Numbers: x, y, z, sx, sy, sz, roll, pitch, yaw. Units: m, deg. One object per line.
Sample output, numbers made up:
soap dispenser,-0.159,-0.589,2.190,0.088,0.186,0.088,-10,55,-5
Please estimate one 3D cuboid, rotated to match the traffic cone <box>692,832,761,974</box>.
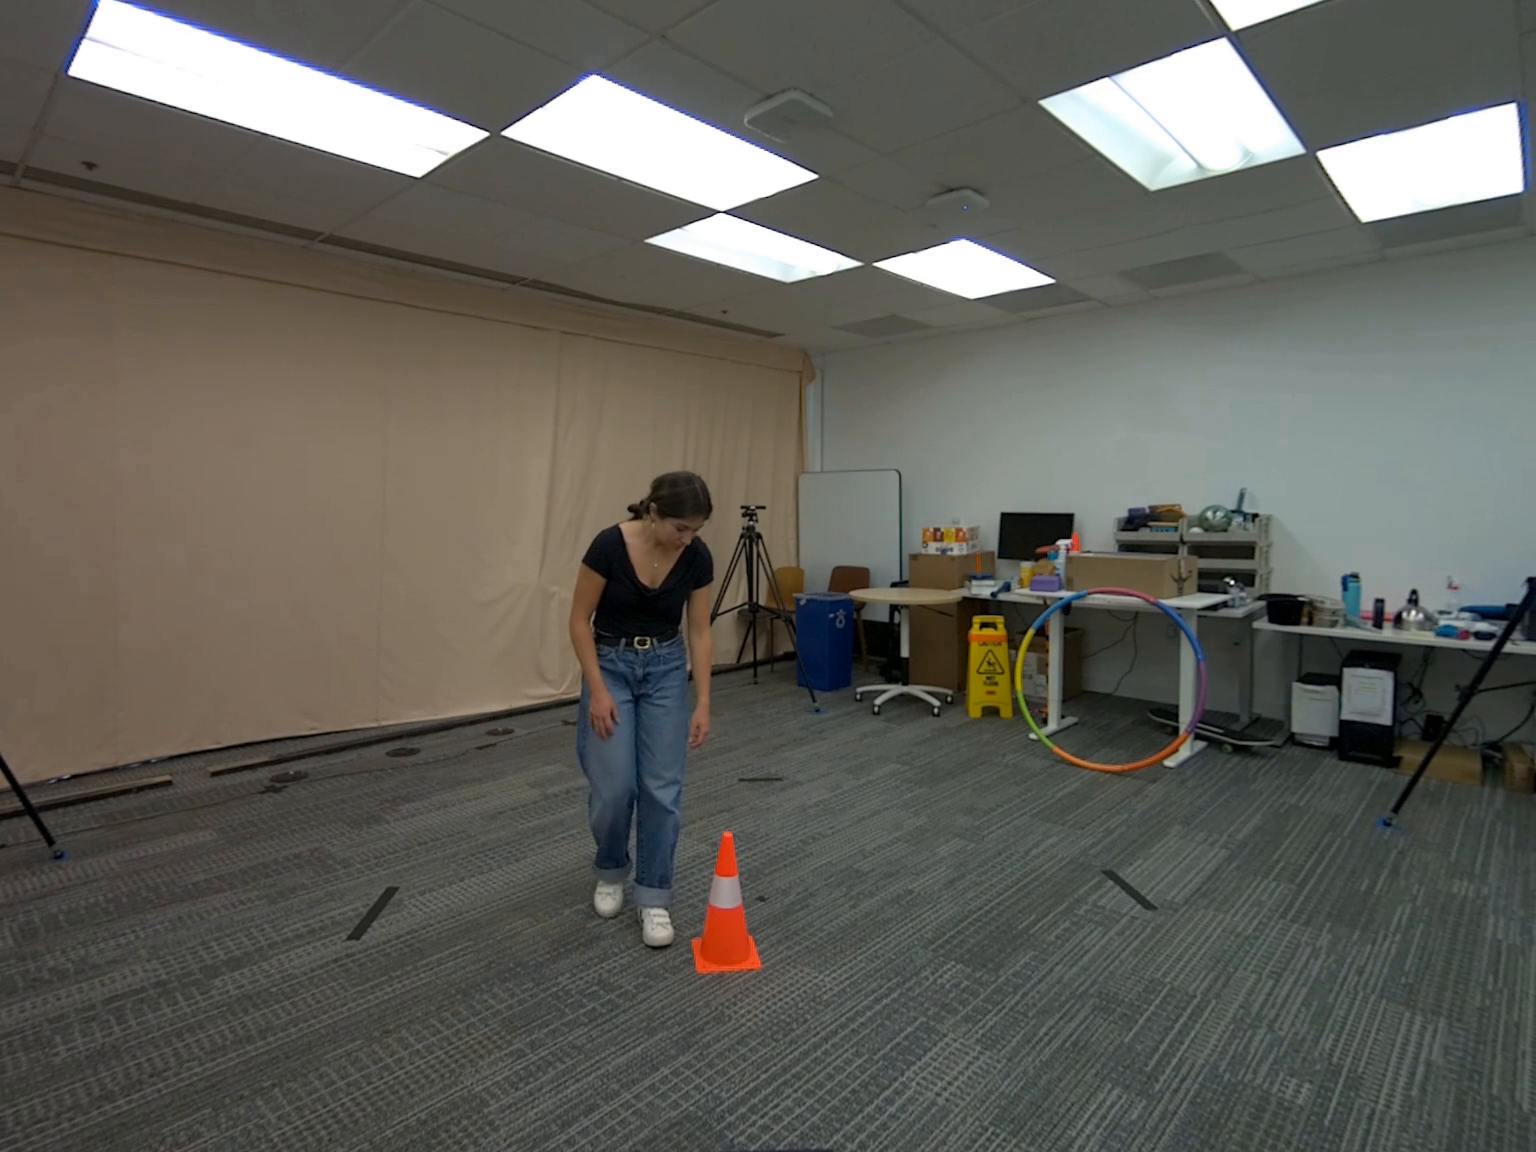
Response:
traffic cone,-0.123,0.992,2.611,0.202,0.383,0.206,1,2,-7
